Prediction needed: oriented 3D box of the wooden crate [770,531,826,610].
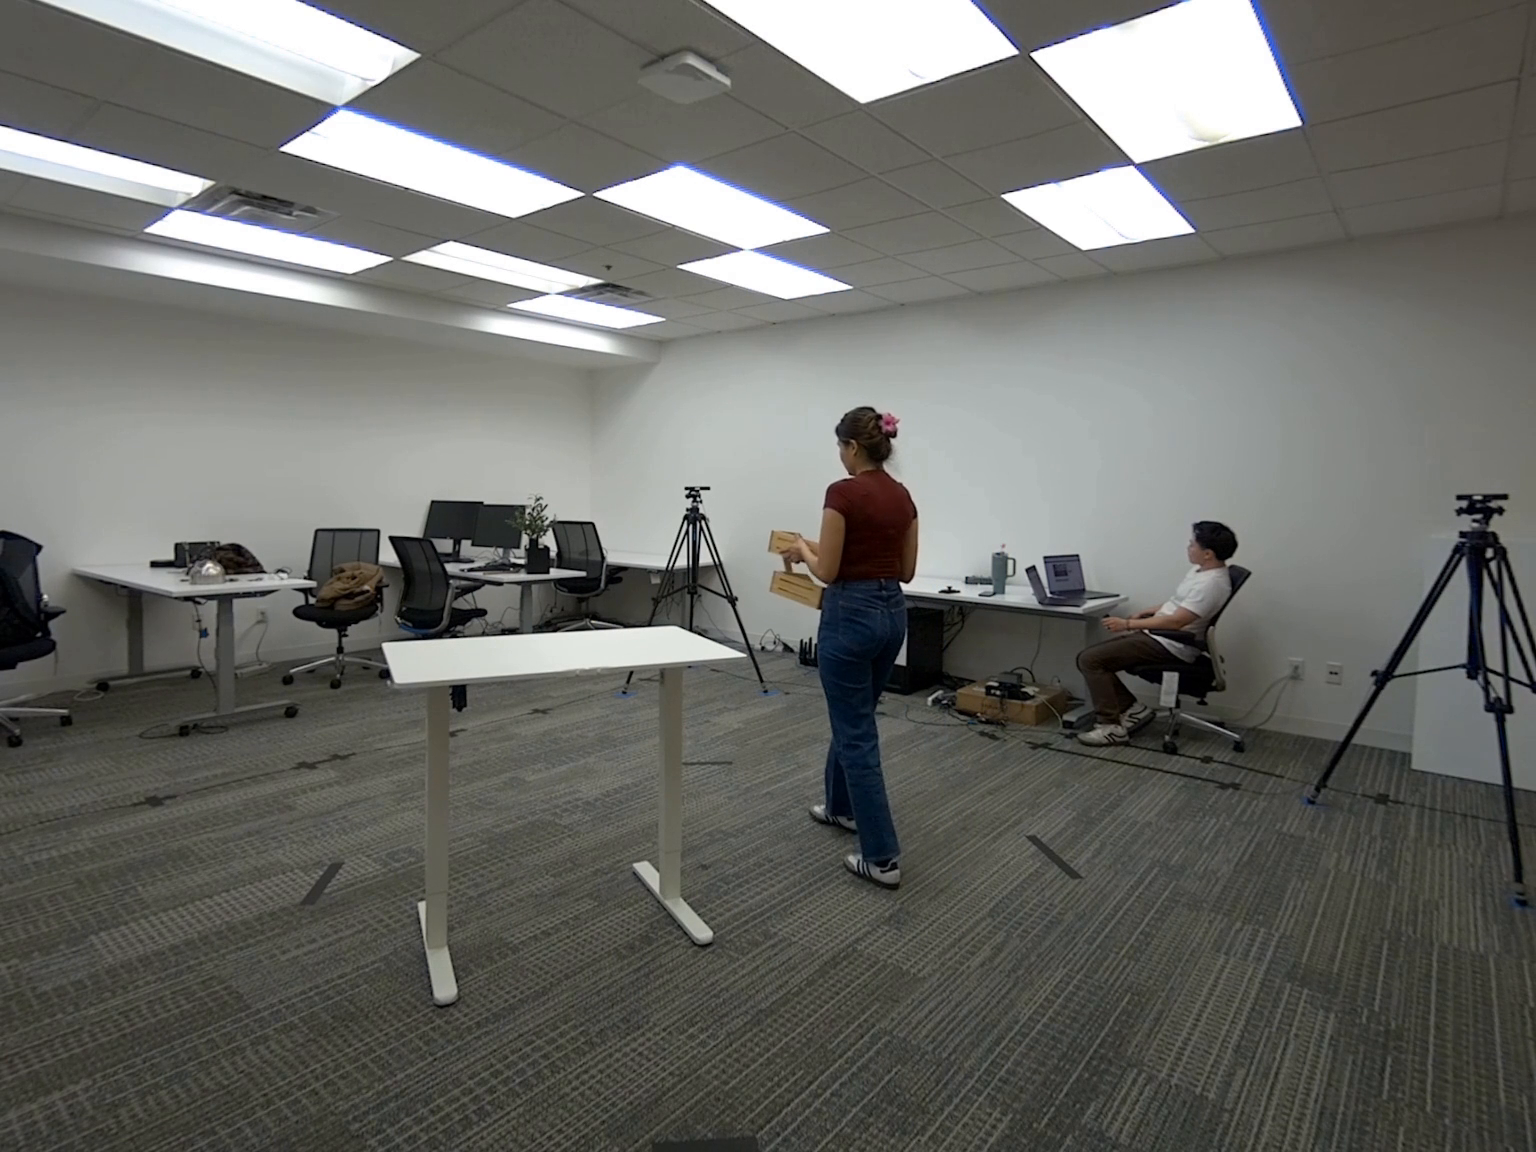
[{"bbox_3d":[0.201,-0.032,3.481,0.292,0.272,0.337,4,9,-39],"label":"wooden crate"}]
